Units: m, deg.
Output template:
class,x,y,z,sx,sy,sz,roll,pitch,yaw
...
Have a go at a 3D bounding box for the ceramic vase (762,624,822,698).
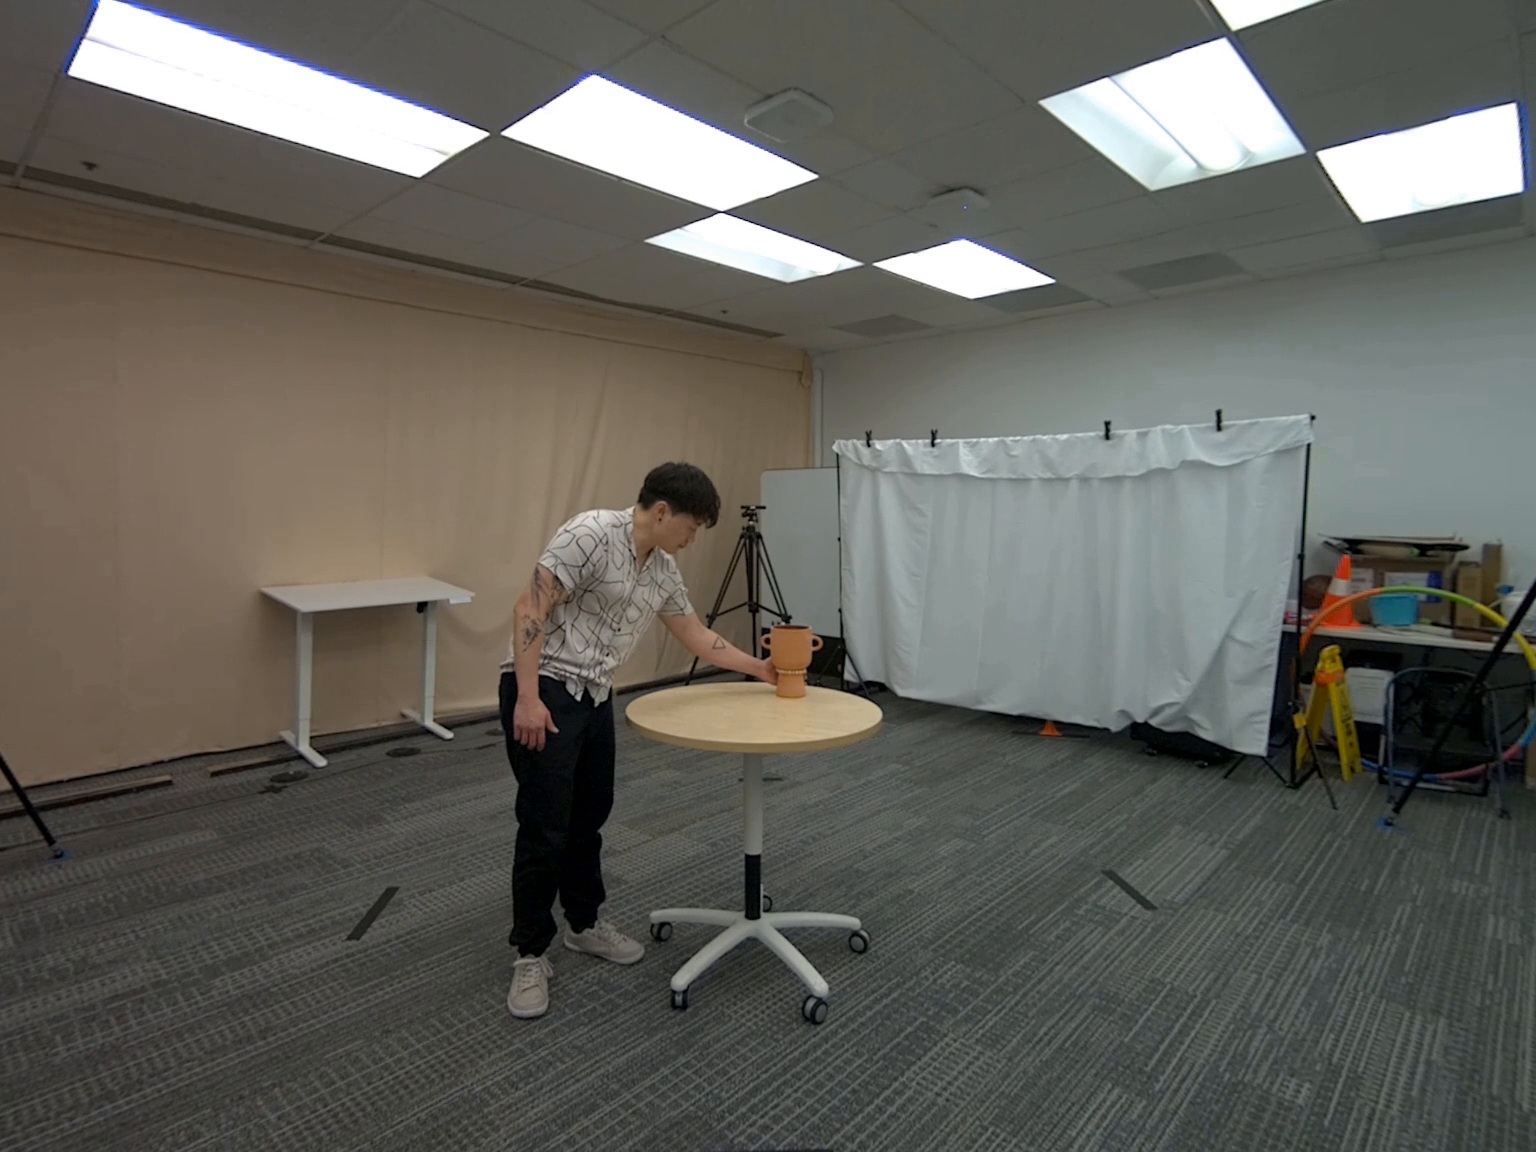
class,x,y,z,sx,sy,sz,roll,pitch,yaw
ceramic vase,0.082,0.275,2.711,0.130,0.219,0.164,-1,2,-43
